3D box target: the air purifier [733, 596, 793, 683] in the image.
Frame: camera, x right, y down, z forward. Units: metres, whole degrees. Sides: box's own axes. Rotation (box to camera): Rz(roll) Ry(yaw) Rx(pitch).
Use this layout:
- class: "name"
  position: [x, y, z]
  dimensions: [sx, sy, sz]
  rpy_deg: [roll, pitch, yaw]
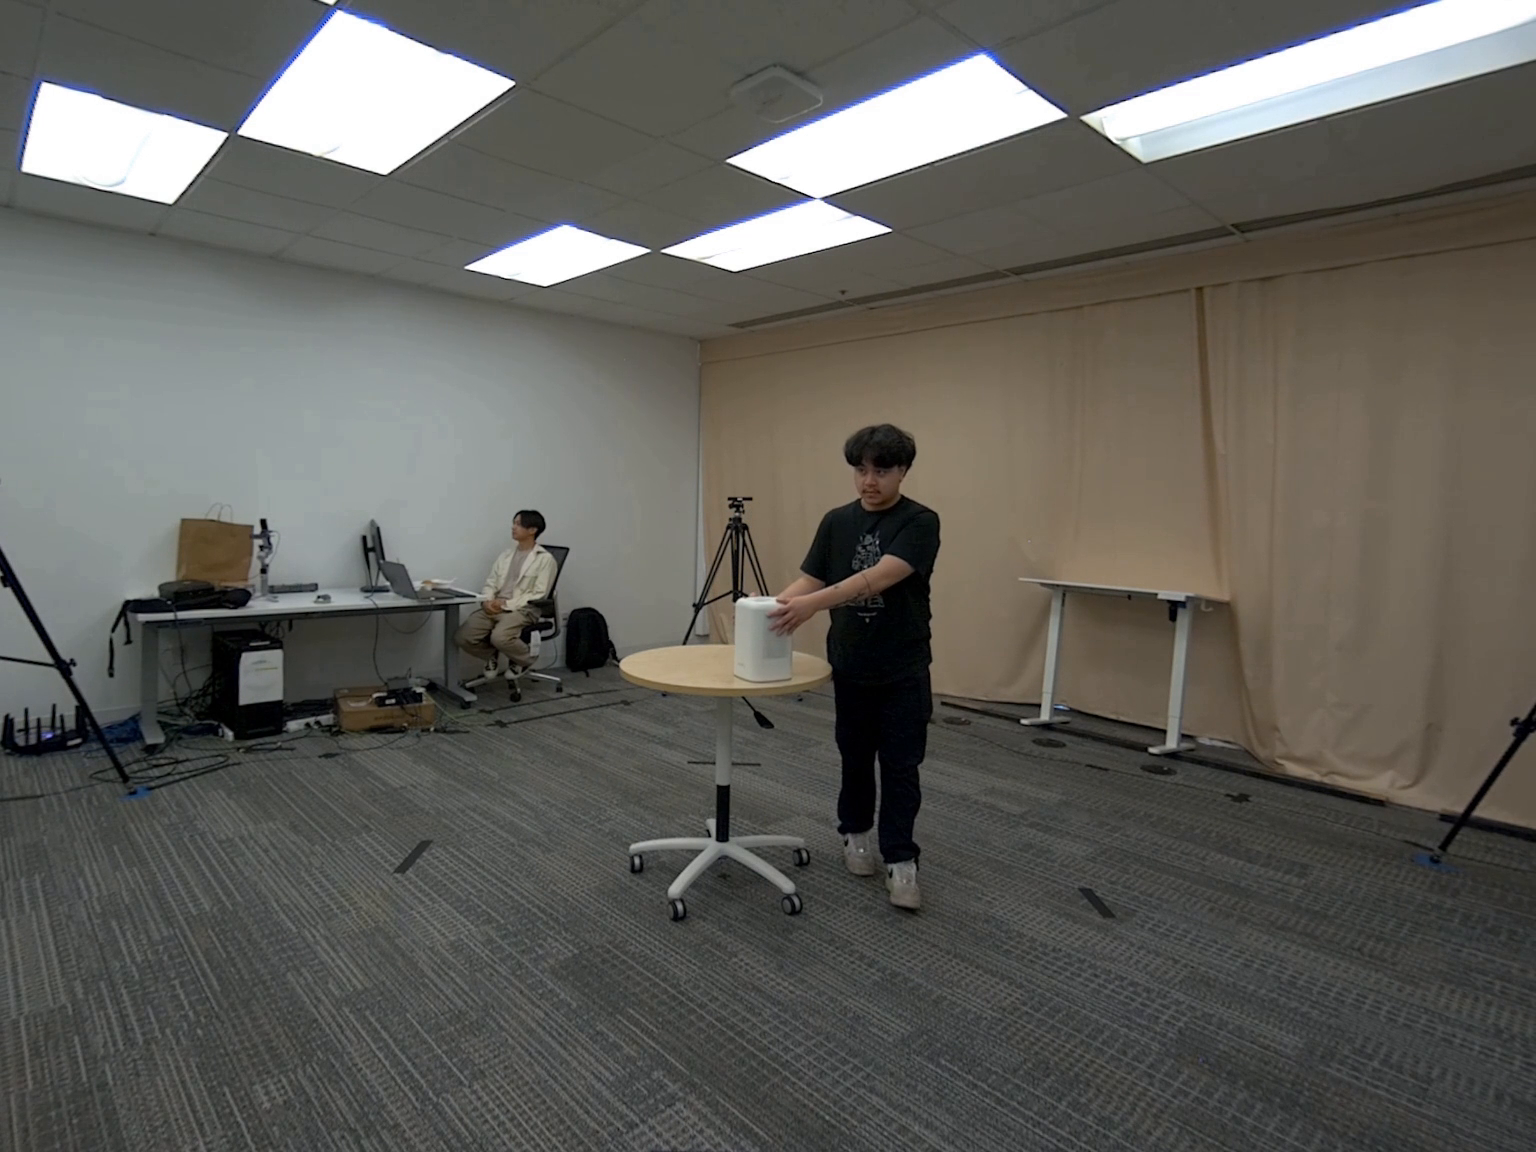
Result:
- class: "air purifier"
  position: [-0.023, 0.210, 2.839]
  dimensions: [0.168, 0.264, 0.175]
  rpy_deg: [-1, 6, -25]
